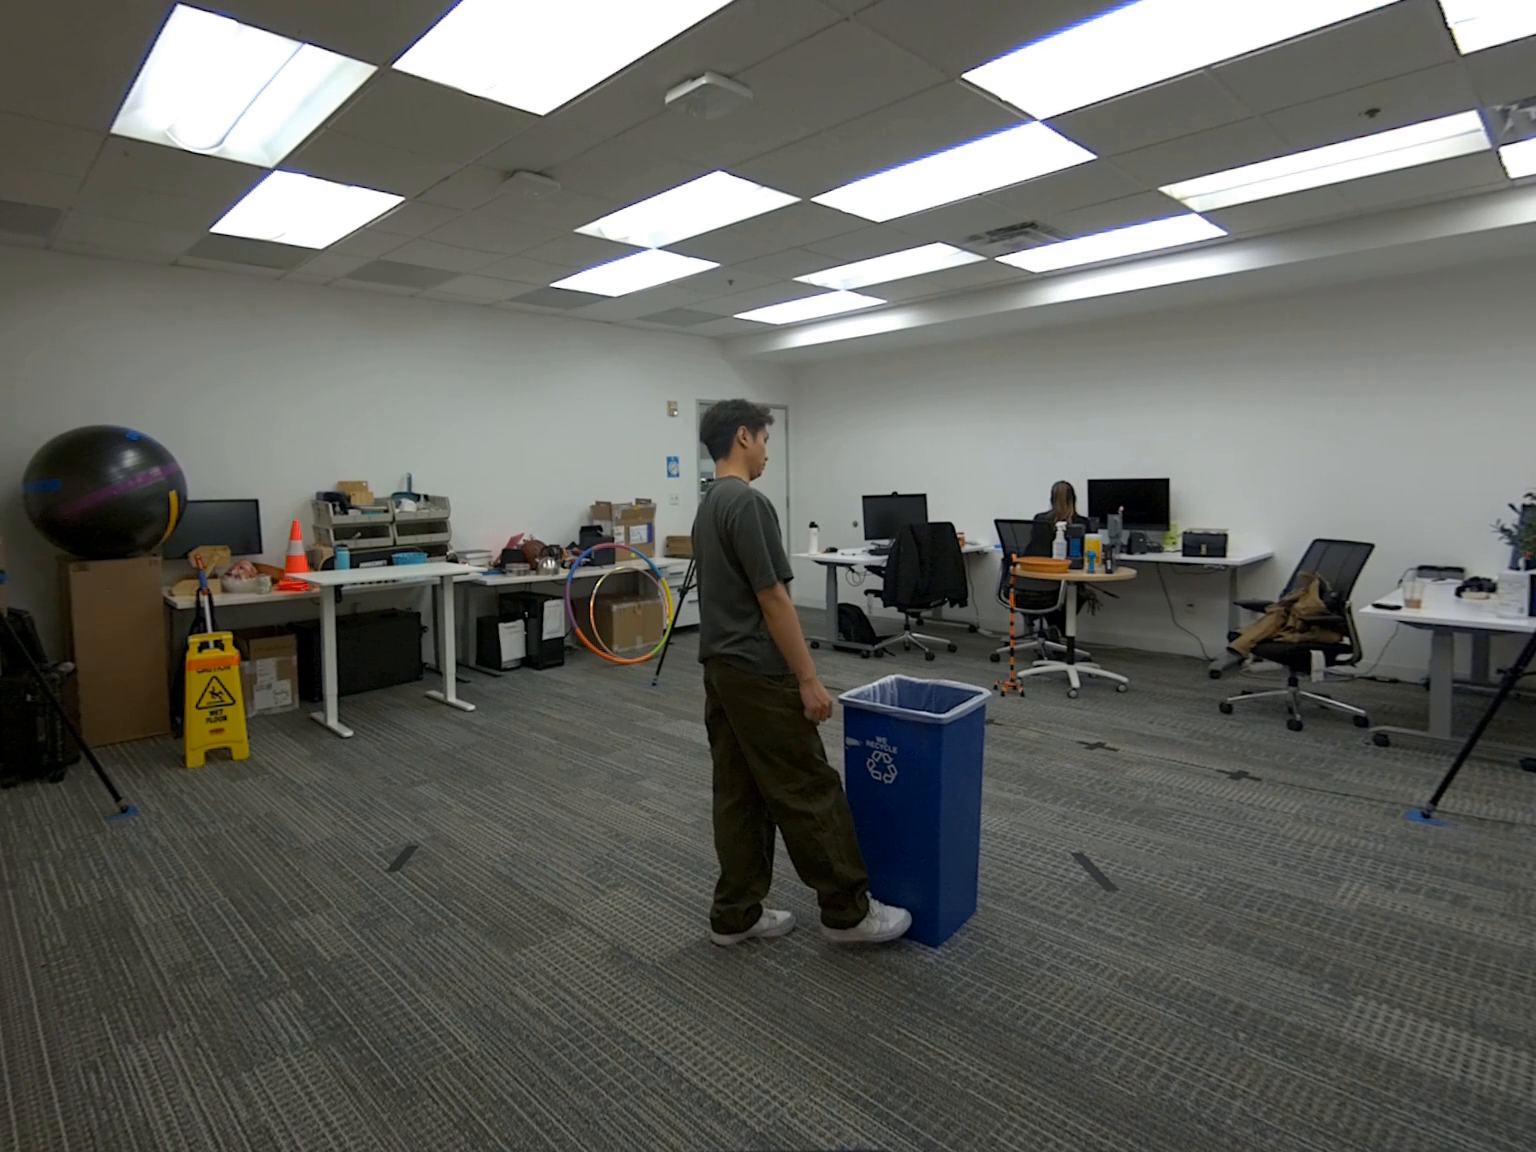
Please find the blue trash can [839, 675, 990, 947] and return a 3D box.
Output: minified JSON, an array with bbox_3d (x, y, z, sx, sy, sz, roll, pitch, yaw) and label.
[{"bbox_3d":[0.473,0.724,2.716,0.389,0.710,0.365,3,7,38],"label":"blue trash can"}]
